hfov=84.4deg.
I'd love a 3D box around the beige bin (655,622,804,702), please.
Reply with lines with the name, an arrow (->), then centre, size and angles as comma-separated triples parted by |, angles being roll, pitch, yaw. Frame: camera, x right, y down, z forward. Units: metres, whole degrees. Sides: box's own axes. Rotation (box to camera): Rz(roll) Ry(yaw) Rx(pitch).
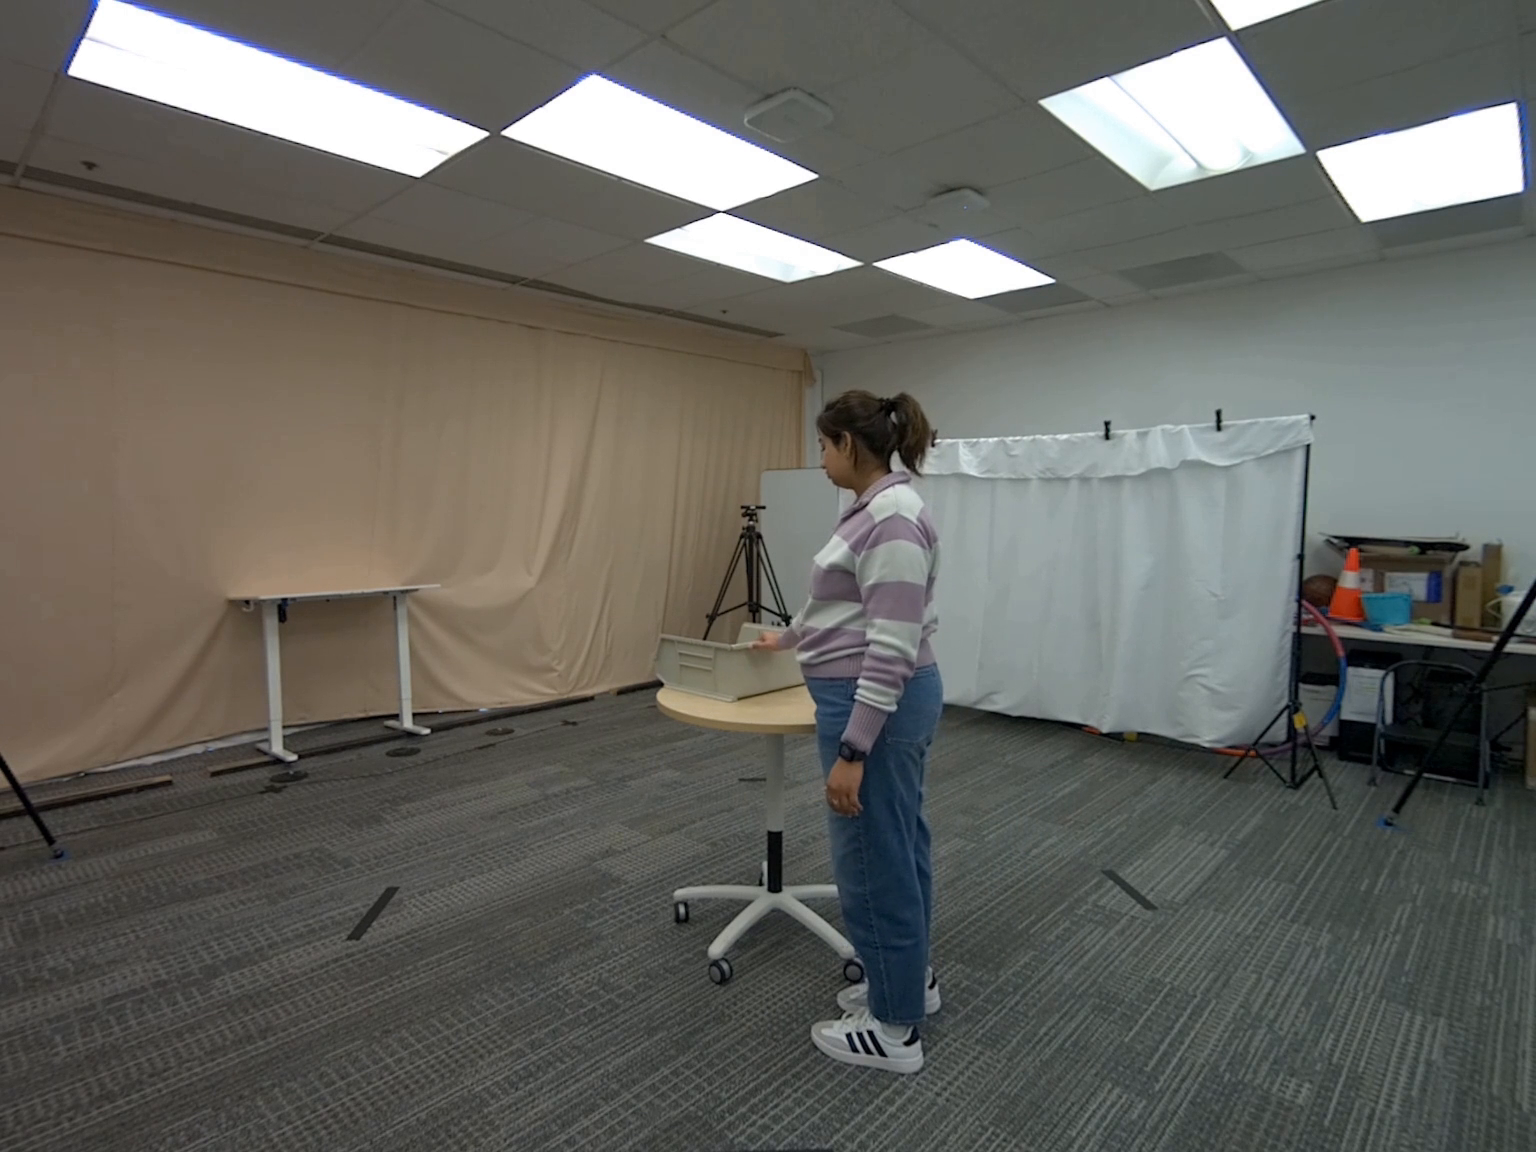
beige bin -> -0.105, 0.281, 2.855 | 0.390, 0.188, 0.409 | 6, 6, 43
